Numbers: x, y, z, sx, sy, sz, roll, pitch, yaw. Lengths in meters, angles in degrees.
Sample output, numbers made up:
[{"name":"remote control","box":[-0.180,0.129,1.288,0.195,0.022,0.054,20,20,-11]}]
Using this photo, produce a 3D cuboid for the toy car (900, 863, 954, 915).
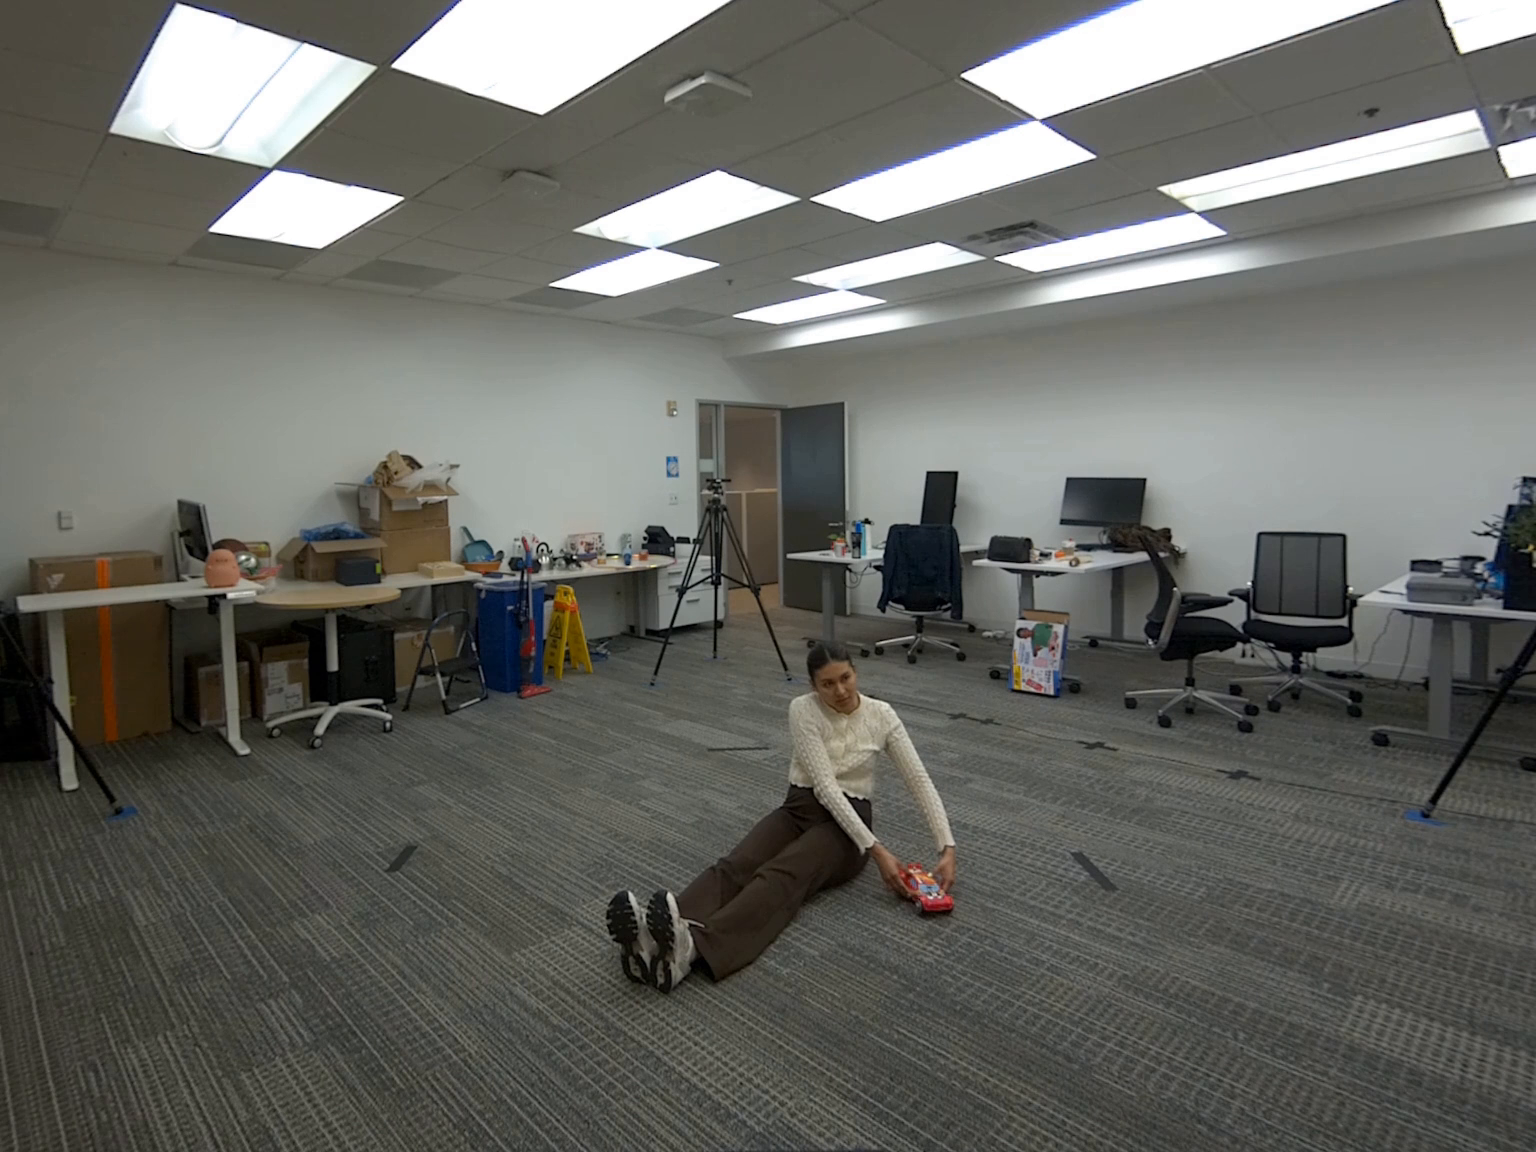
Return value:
[{"name":"toy car","box":[0.520,1.028,2.810,0.128,0.082,0.262,2,16,-18]}]
